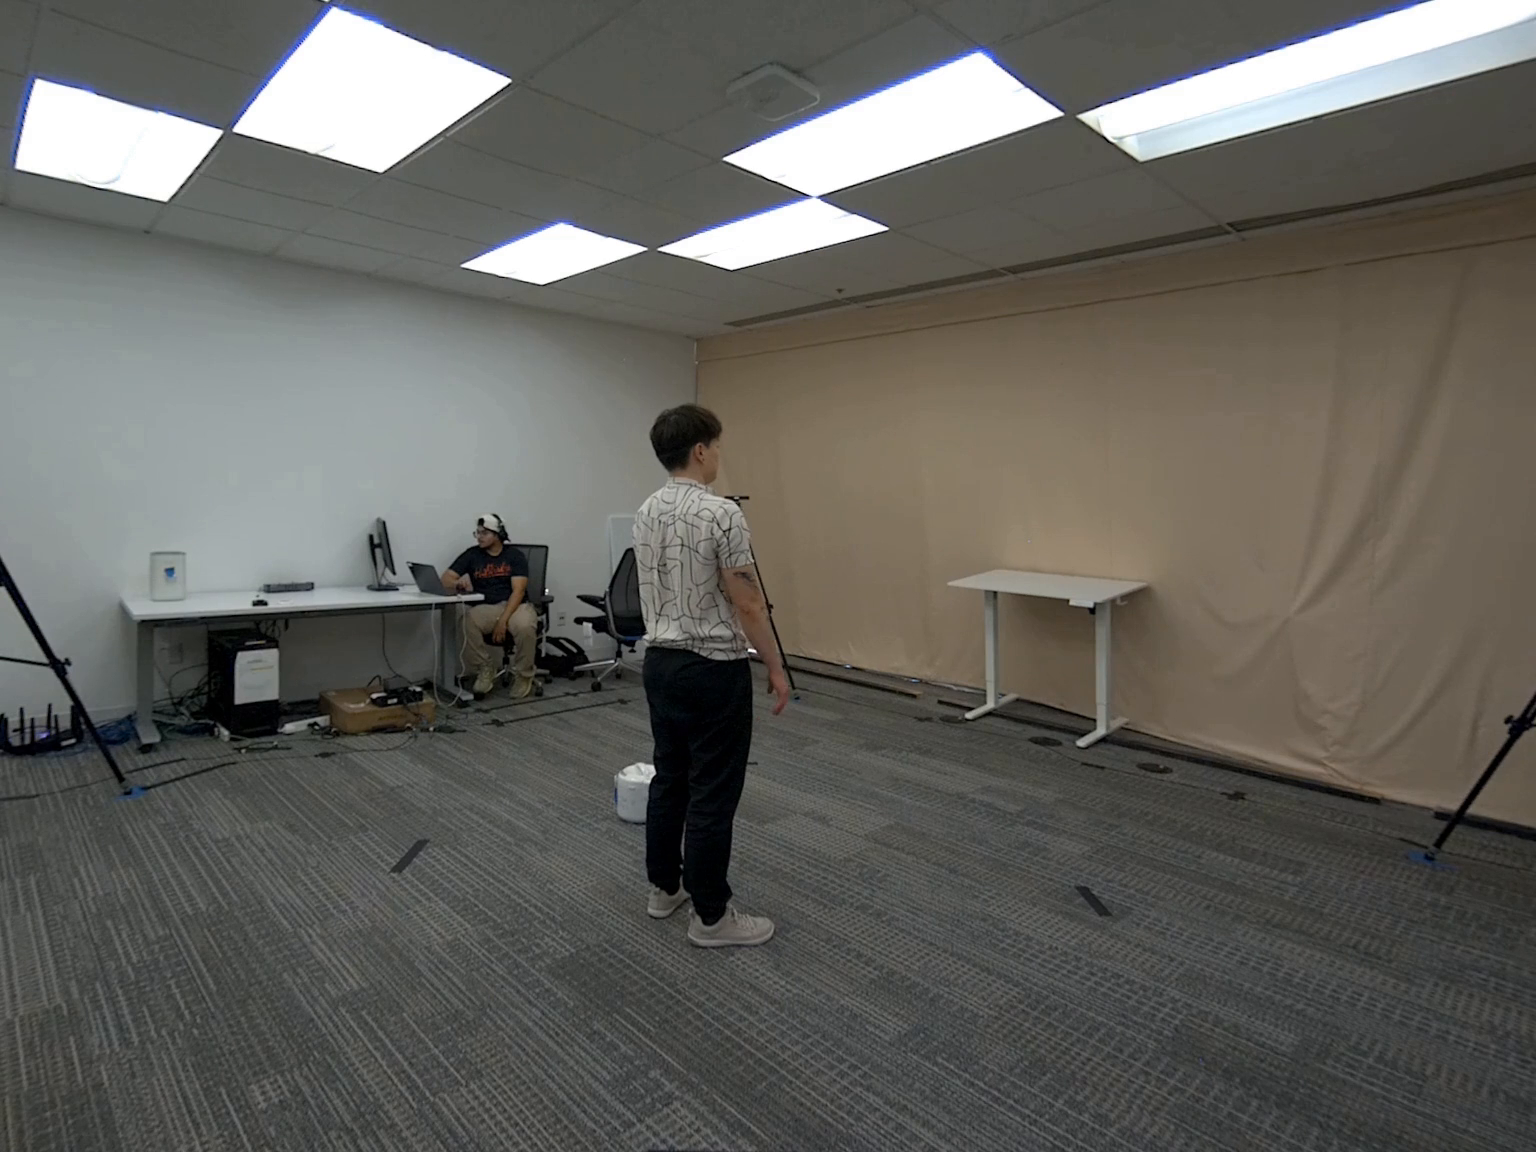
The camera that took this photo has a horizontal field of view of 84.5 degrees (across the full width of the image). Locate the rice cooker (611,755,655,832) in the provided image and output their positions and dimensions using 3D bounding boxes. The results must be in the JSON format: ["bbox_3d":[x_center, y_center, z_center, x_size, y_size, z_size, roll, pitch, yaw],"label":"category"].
[{"bbox_3d":[-0.542,0.927,3.647,0.214,0.232,0.225,-2,5,-22],"label":"rice cooker"}]
